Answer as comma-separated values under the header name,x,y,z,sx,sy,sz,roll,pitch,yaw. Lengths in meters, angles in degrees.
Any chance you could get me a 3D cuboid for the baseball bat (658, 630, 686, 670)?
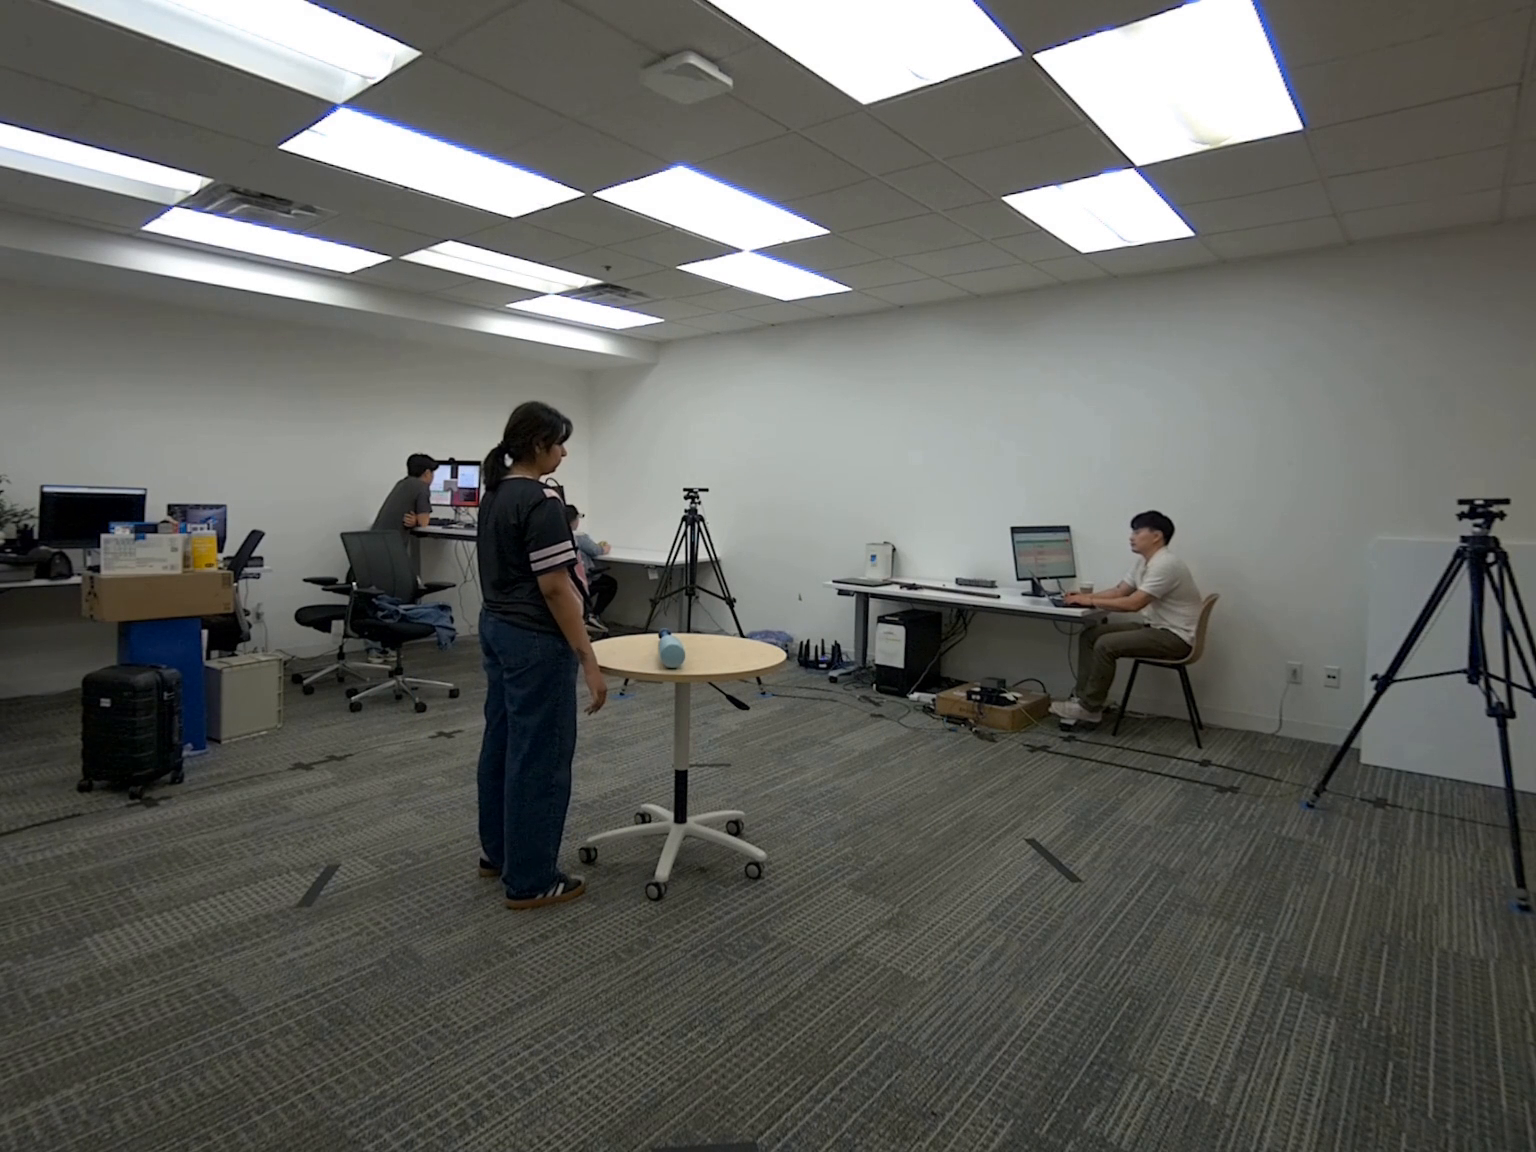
name,x,y,z,sx,sy,sz,roll,pitch,yaw
baseball bat,-0.379,0.250,3.098,0.088,0.089,0.550,0,4,-12
